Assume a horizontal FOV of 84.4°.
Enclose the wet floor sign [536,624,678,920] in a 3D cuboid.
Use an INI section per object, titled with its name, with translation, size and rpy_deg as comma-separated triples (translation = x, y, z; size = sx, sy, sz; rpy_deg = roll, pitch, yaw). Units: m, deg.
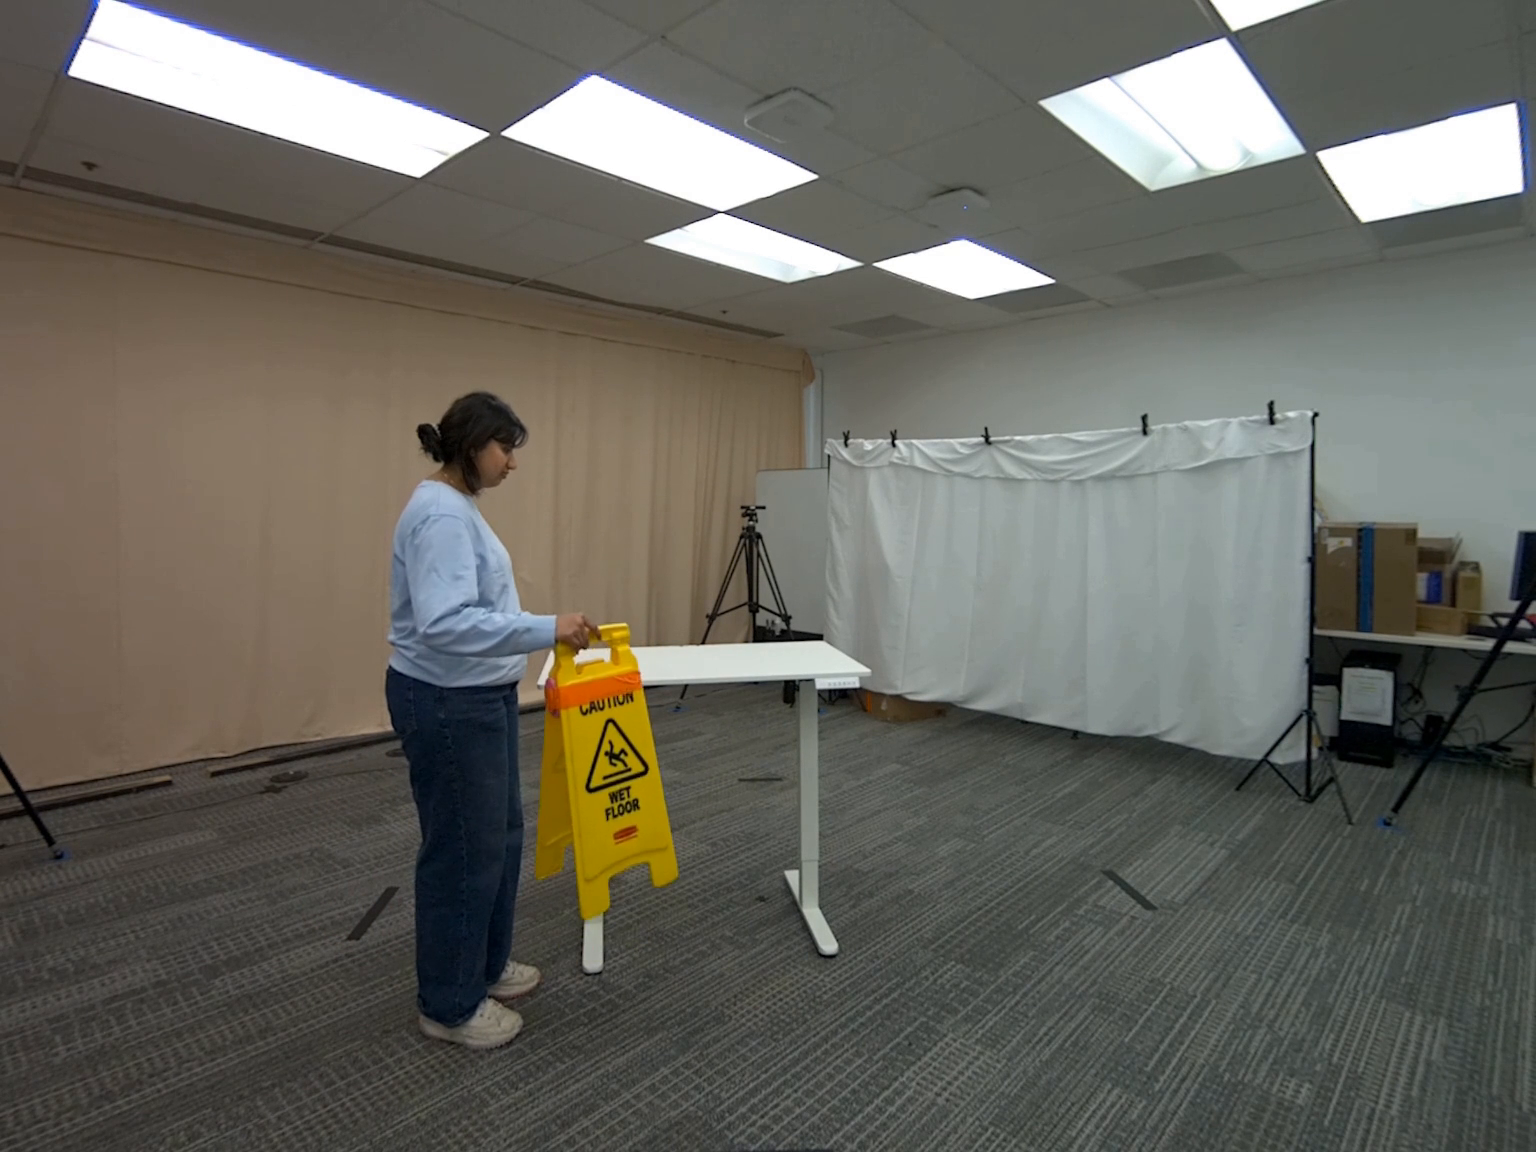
[wet floor sign]
translation = -0.419, 0.450, 2.066
size = 0.274, 0.642, 0.300
rpy_deg = -9, 12, -39
